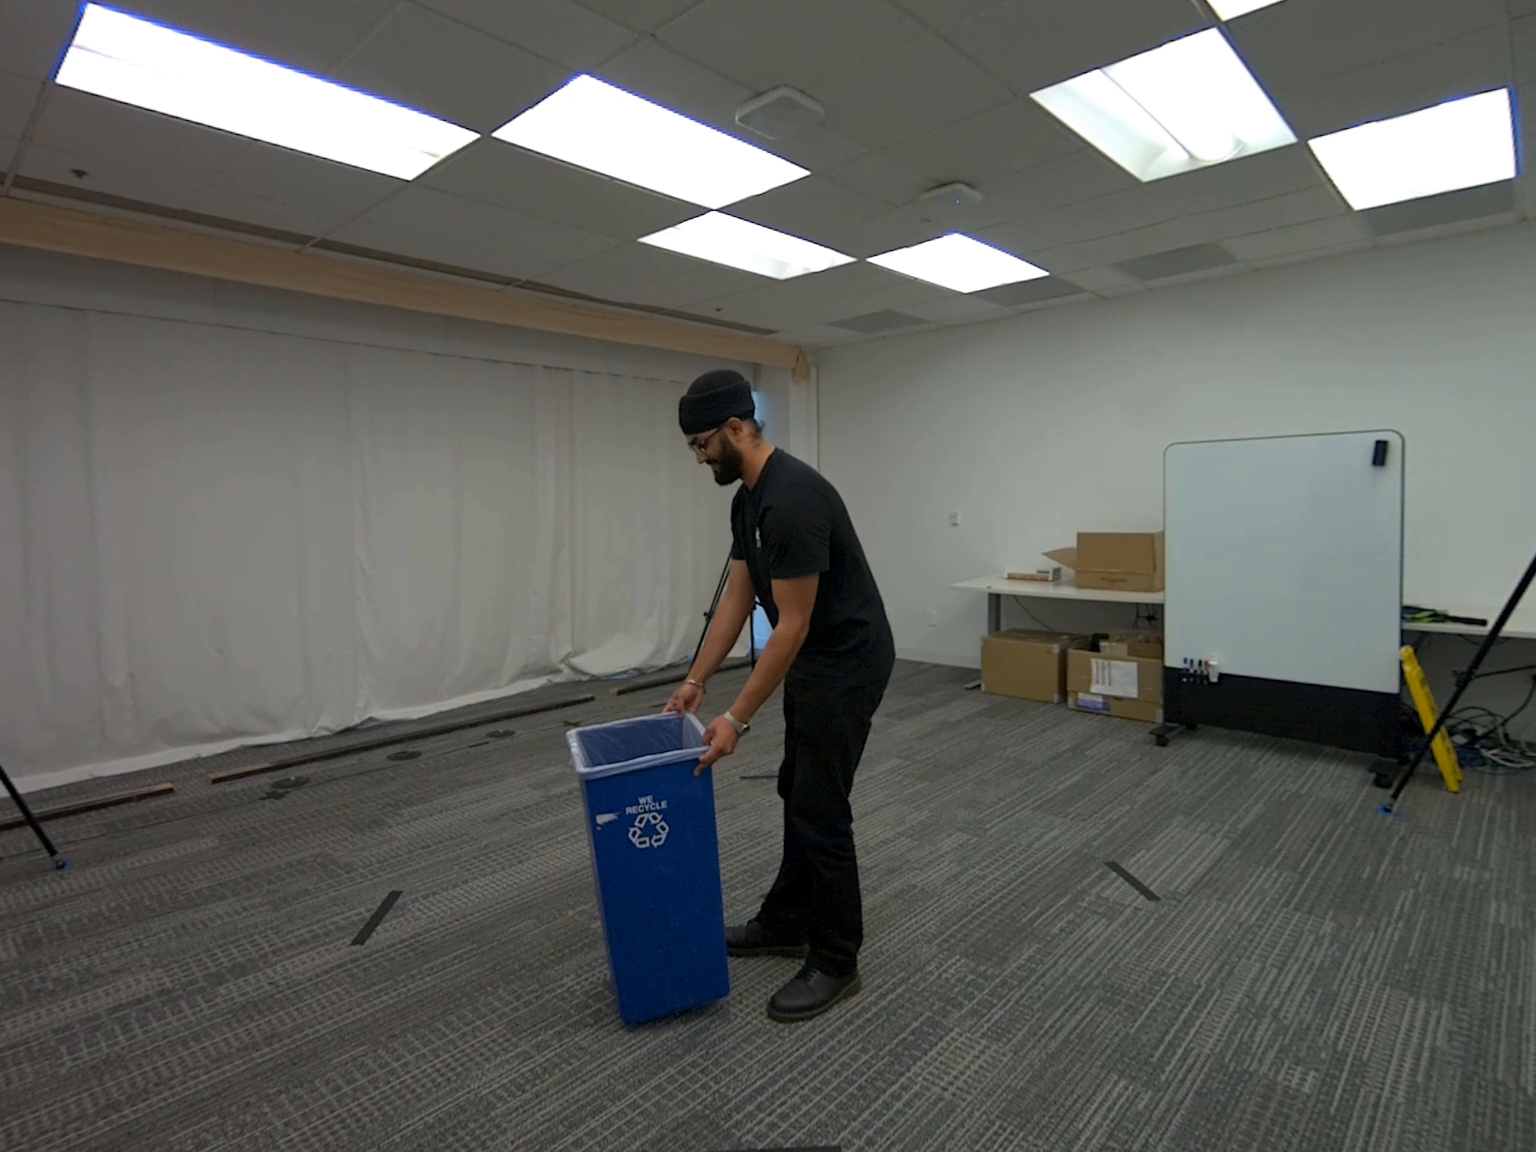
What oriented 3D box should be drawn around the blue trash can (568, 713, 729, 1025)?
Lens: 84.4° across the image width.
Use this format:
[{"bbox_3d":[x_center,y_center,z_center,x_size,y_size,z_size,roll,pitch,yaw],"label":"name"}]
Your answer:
[{"bbox_3d":[-0.316,0.800,2.355,0.369,0.710,0.385,-8,7,-15],"label":"blue trash can"}]
